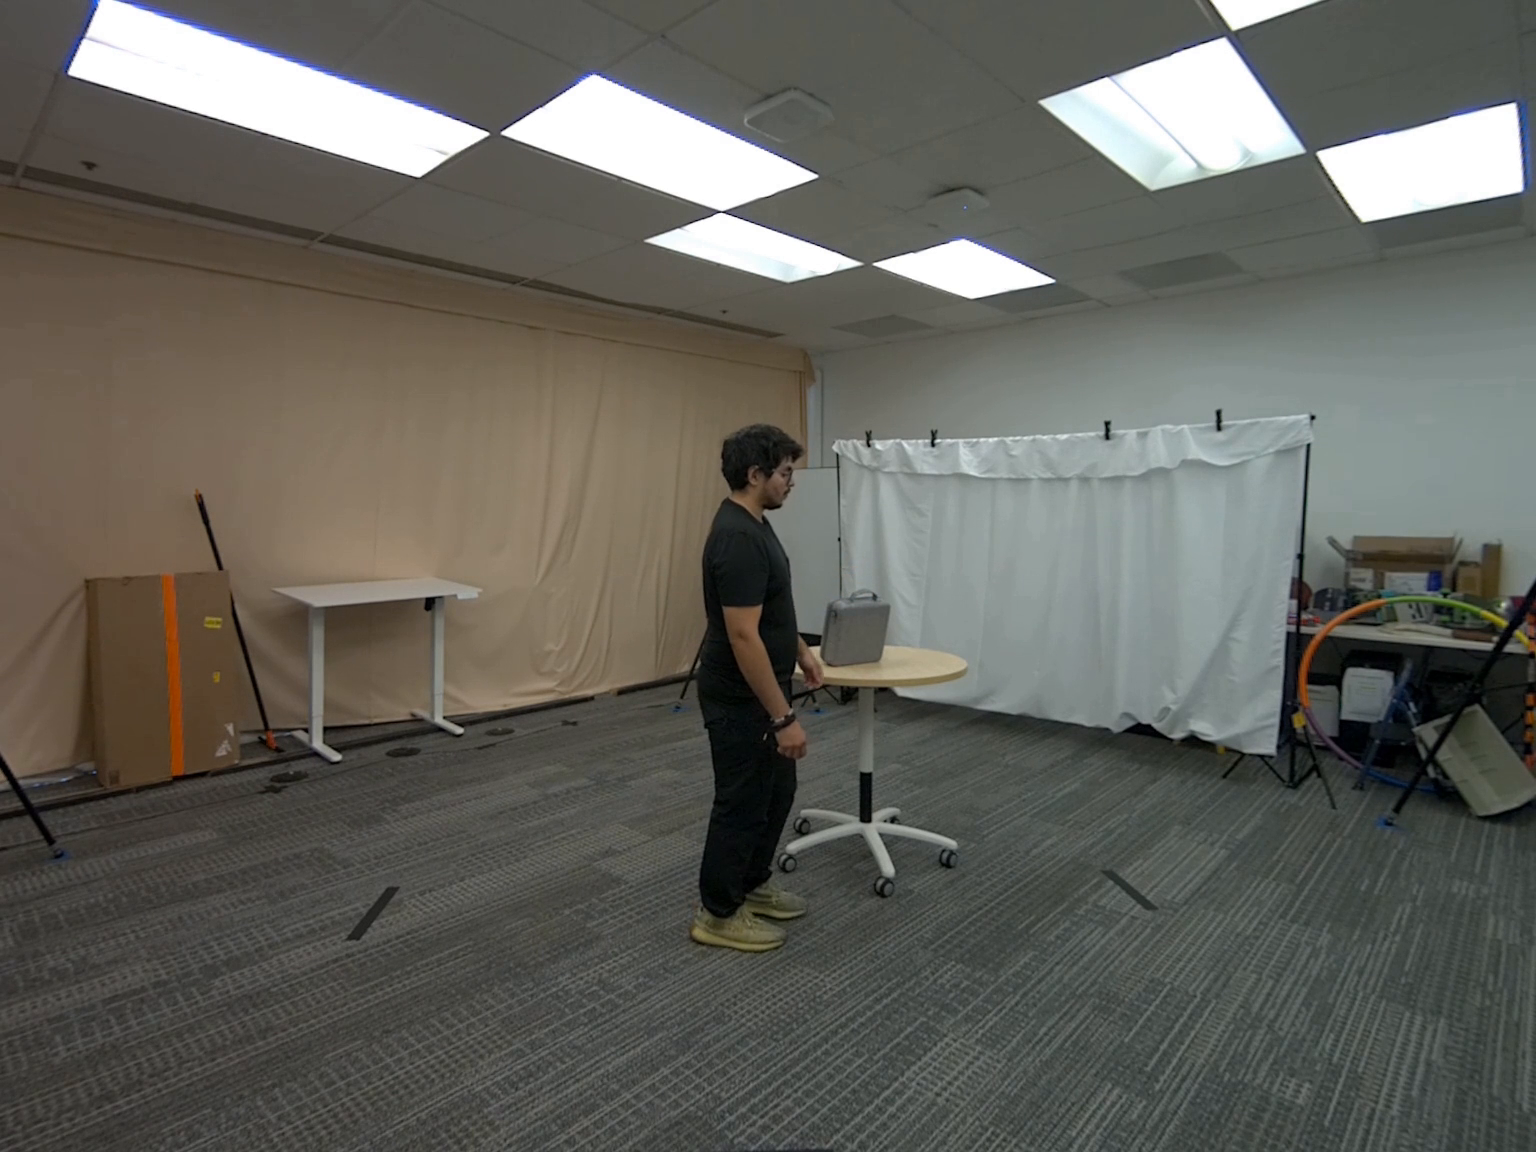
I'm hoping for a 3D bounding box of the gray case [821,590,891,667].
[{"bbox_3d":[0.340,0.207,3.236,0.250,0.259,0.108,-1,15,-29],"label":"gray case"}]
